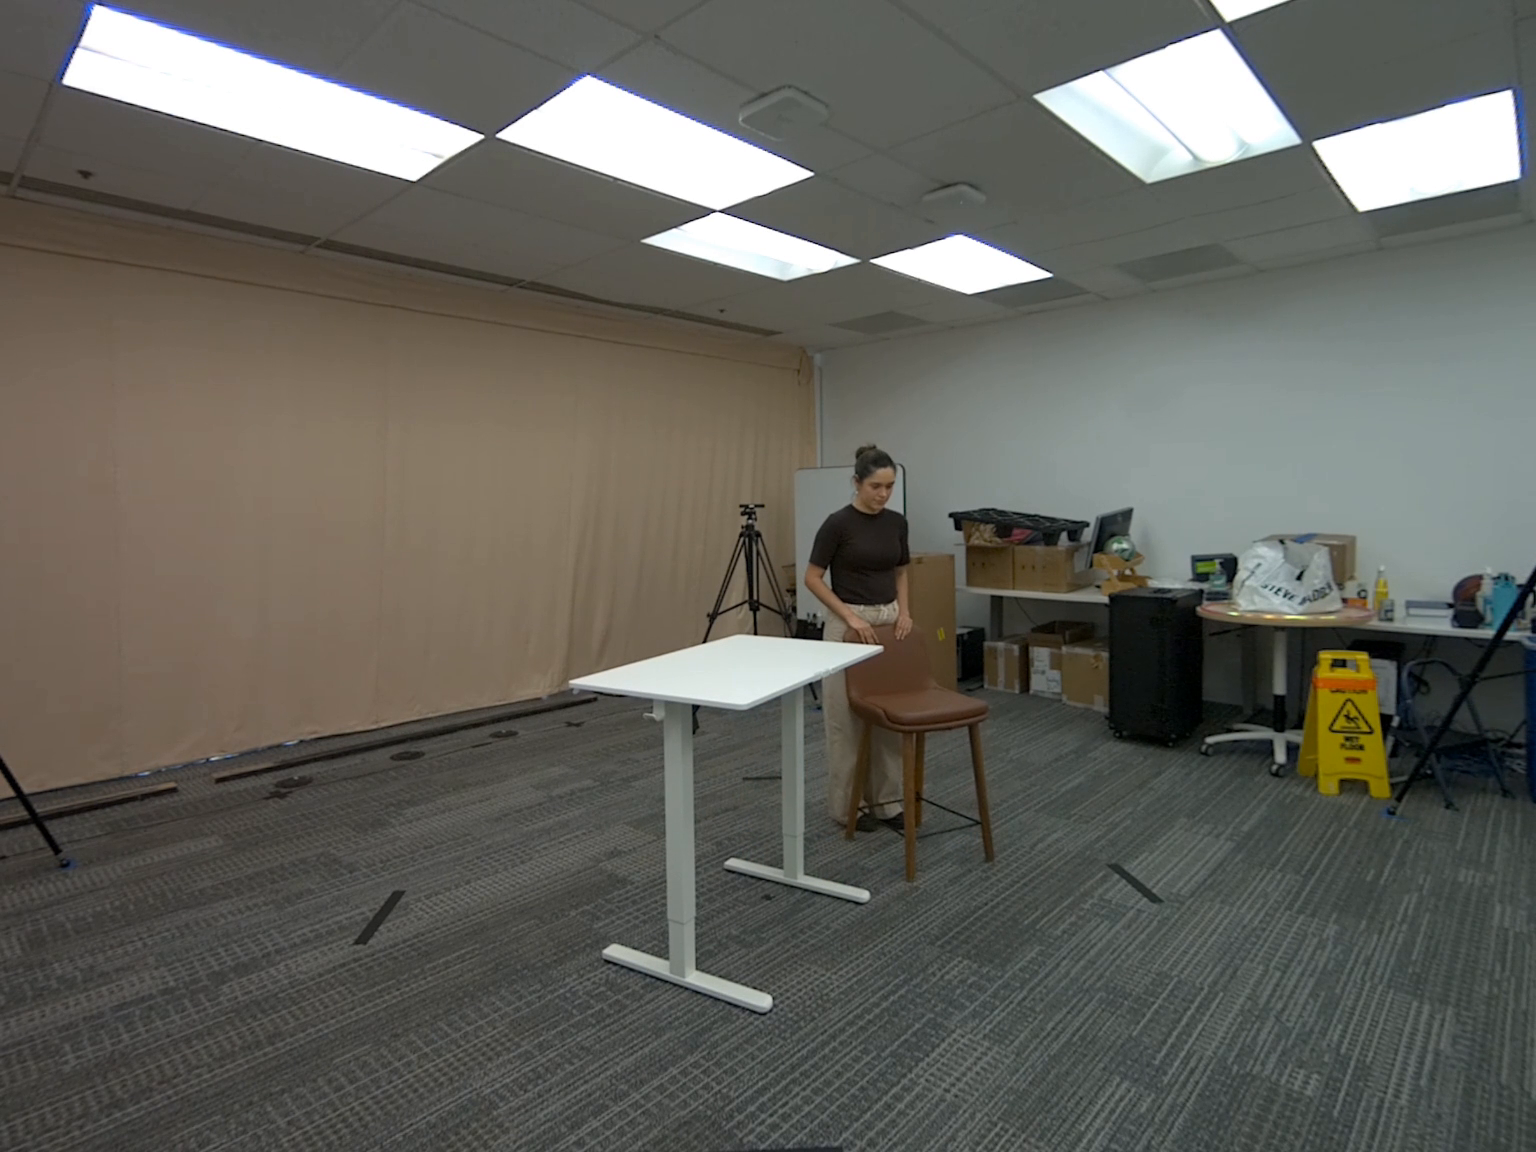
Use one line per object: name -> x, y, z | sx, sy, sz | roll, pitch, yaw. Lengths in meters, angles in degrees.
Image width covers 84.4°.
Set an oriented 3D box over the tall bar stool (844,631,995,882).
tall bar stool -> 0.585, 0.656, 3.351 | 0.445, 0.889, 0.480 | -3, 2, -26
